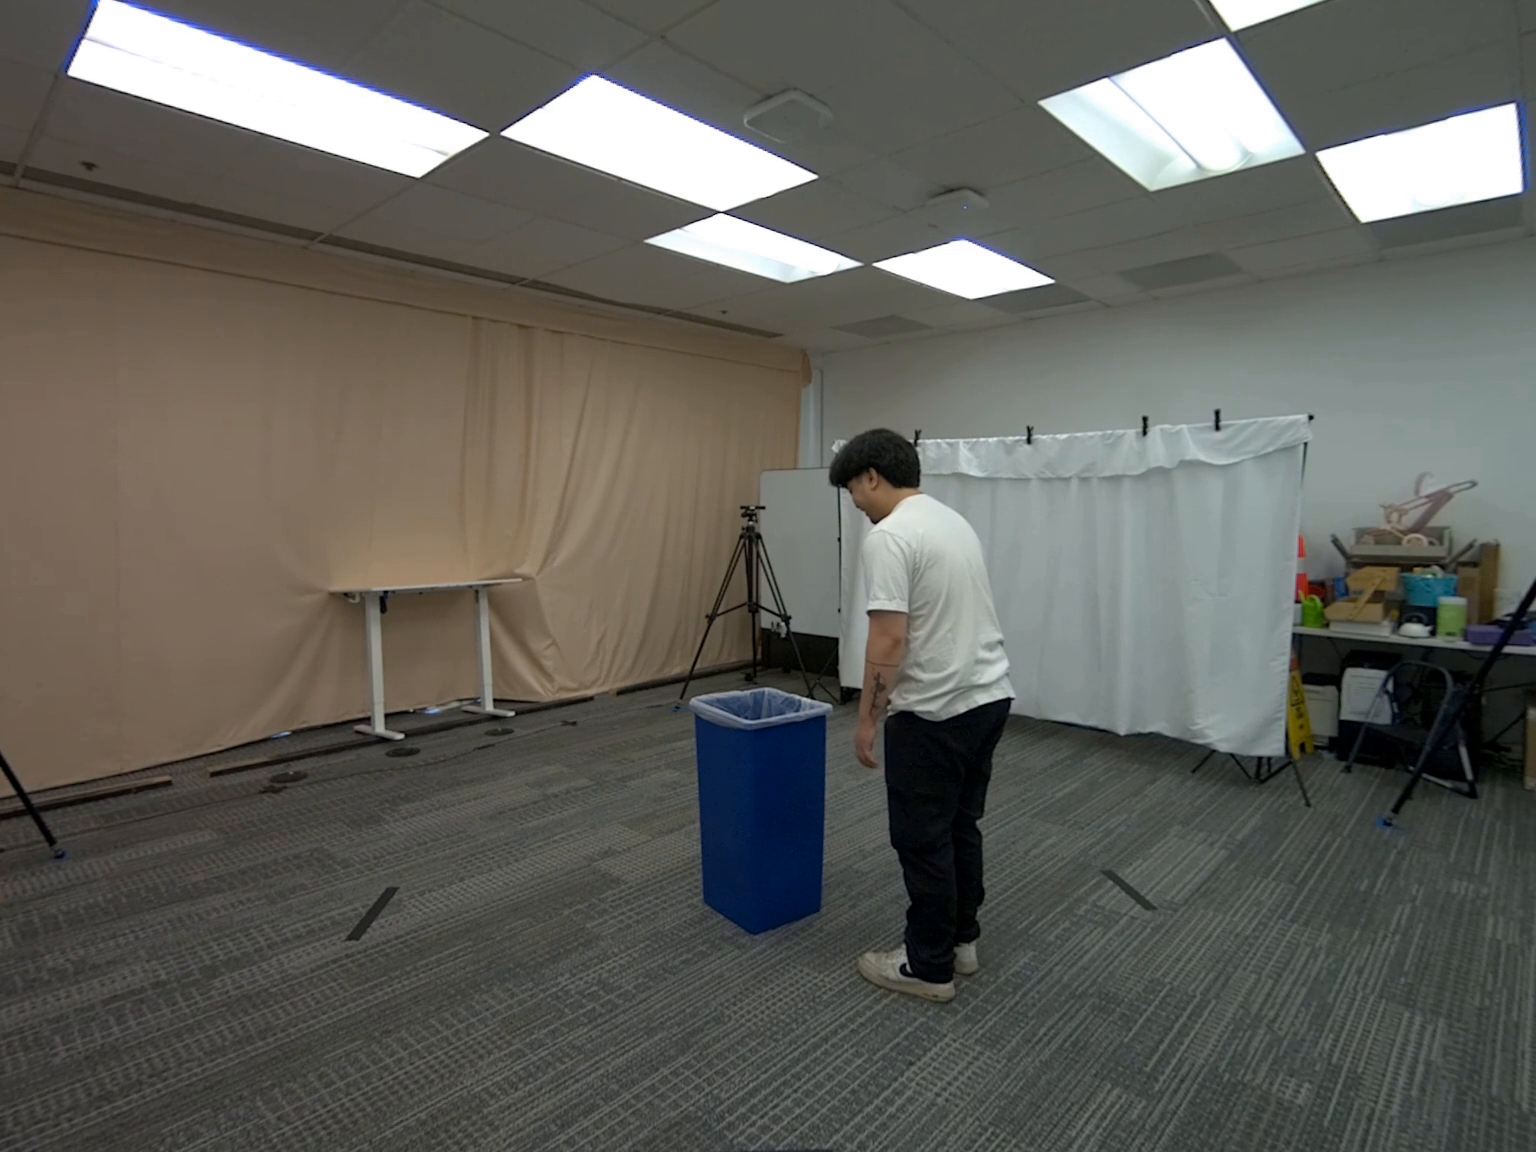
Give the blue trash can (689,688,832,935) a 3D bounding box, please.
[{"bbox_3d":[-0.027,0.792,2.907,0.363,0.712,0.390,-2,4,-37],"label":"blue trash can"}]
